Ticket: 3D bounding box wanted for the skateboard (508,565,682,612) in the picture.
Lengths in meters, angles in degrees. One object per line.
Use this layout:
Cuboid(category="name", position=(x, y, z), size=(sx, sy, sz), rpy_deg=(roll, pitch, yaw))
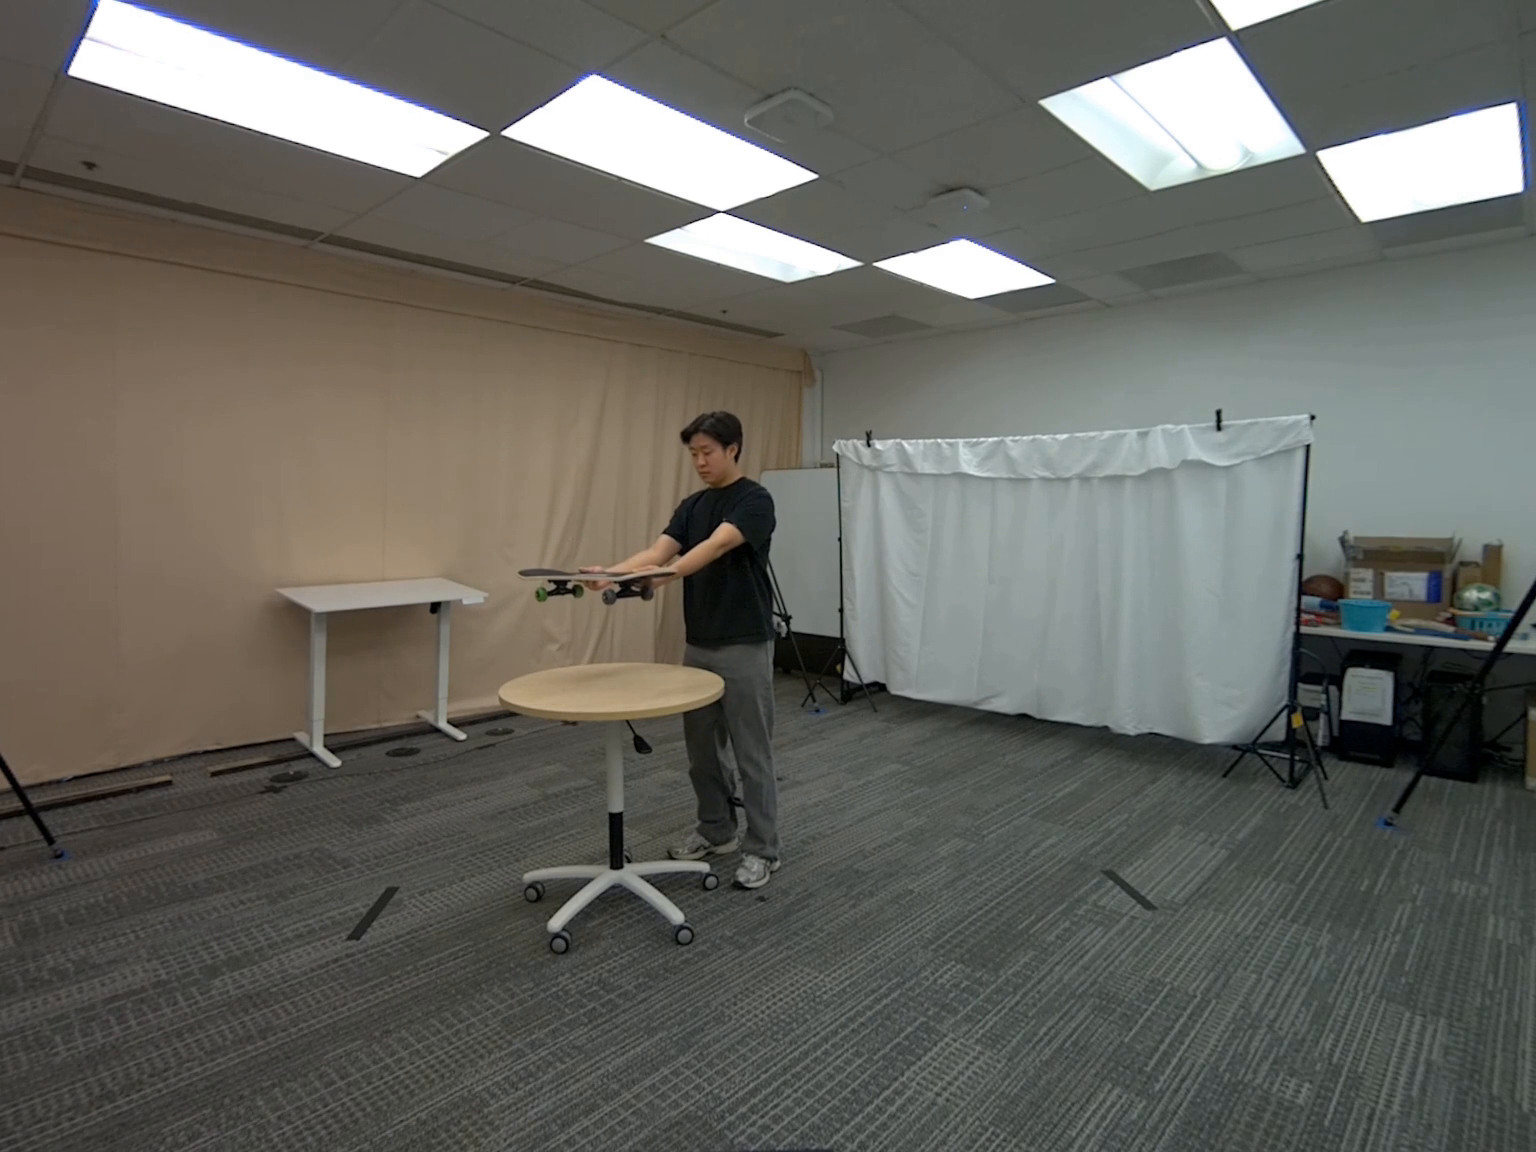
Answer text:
Cuboid(category="skateboard", position=(-0.606, 0.030, 2.828), size=(0.188, 0.110, 0.810), rpy_deg=(-8, 6, -40))
